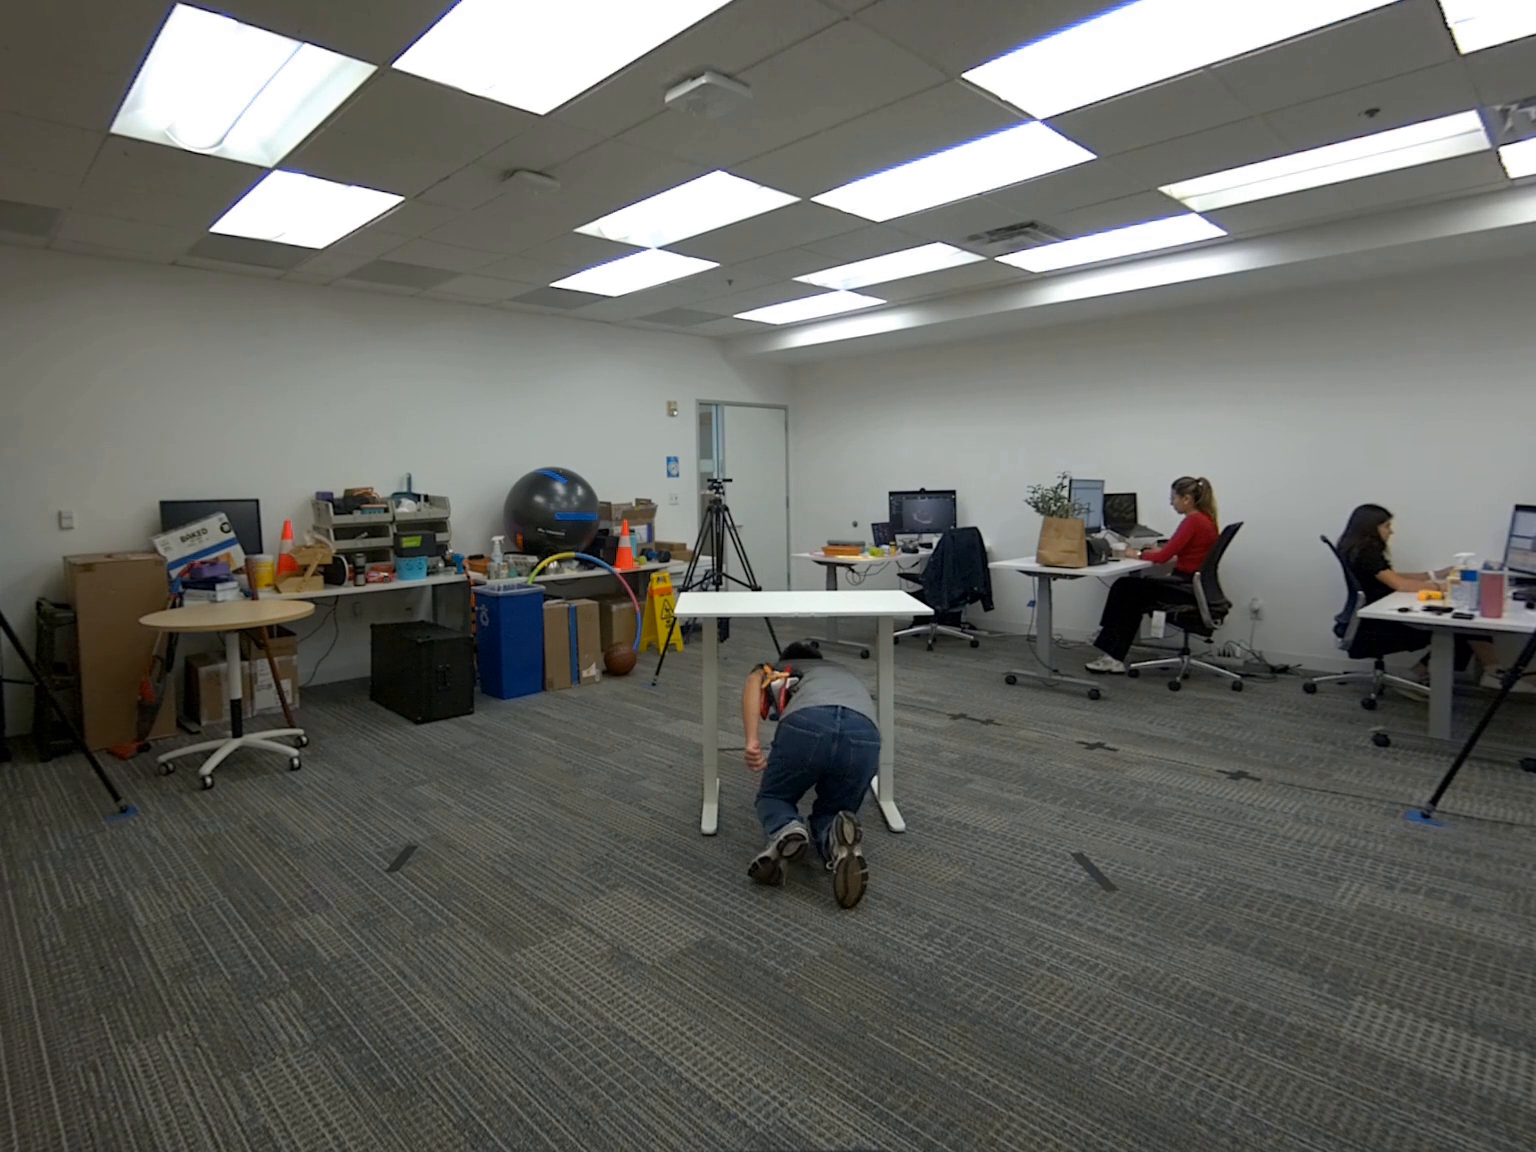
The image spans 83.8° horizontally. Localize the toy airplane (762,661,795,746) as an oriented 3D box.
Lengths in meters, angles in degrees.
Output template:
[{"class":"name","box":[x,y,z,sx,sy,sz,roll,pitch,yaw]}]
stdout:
[{"class":"toy airplane","box":[0.070,0.485,3.296,0.156,0.258,0.253,2,6,-4]}]
